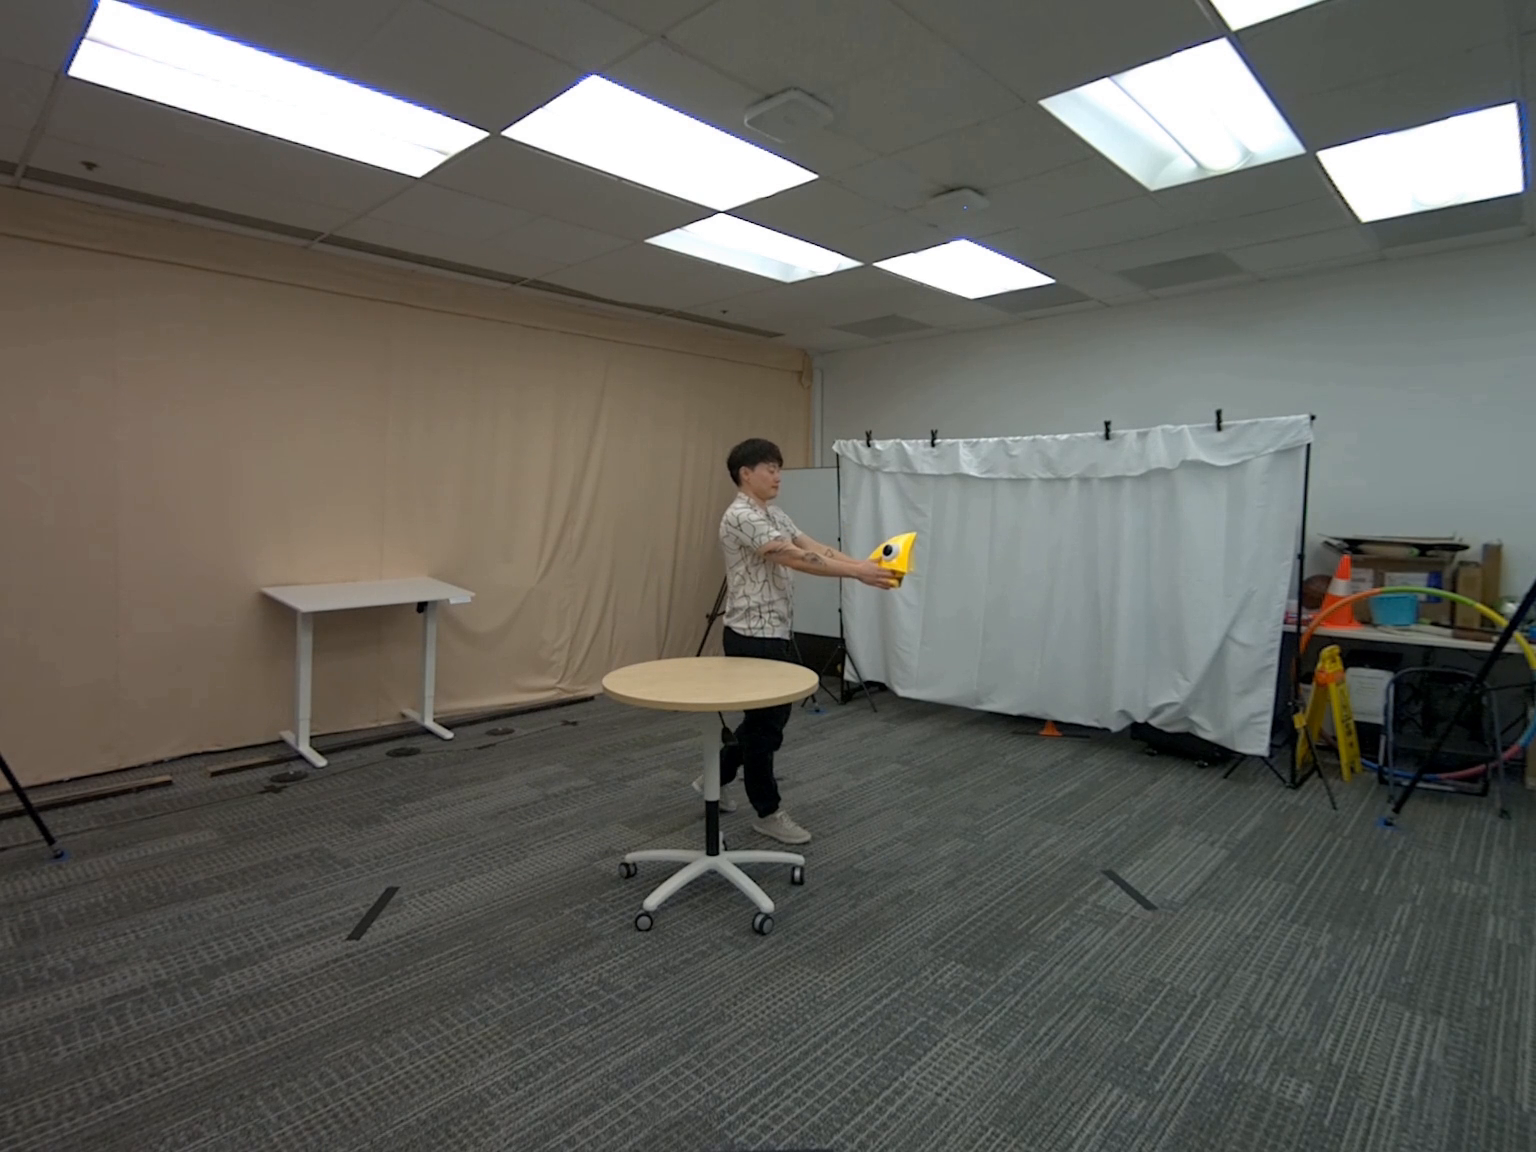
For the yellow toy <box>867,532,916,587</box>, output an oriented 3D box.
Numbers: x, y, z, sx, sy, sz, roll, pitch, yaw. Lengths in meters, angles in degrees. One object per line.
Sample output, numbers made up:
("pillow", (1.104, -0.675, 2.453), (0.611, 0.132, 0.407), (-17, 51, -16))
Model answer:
("yellow toy", (0.501, -0.080, 3.388), (0.197, 0.230, 0.201), (21, 11, 18))
